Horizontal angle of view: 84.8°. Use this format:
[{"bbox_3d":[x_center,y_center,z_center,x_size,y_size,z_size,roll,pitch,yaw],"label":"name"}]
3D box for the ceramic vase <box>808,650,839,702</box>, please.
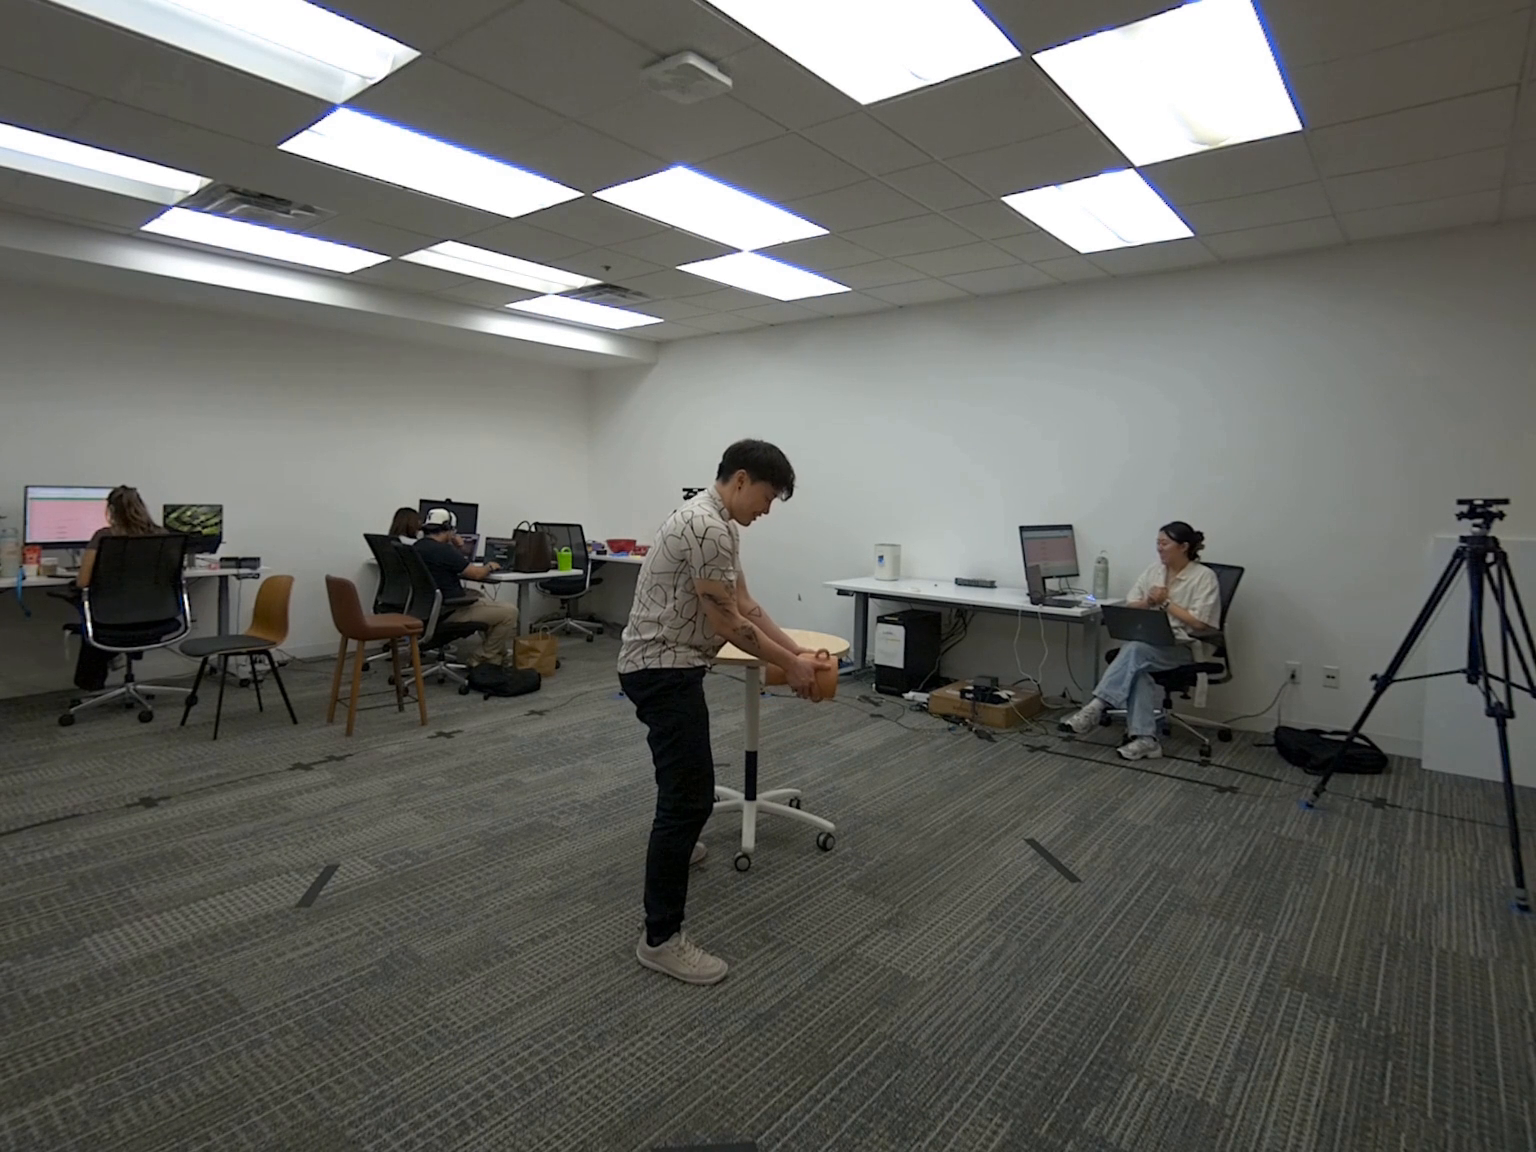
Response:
[{"bbox_3d":[0.101,0.313,2.689,0.220,0.161,0.133,4,-16,-1],"label":"ceramic vase"}]
